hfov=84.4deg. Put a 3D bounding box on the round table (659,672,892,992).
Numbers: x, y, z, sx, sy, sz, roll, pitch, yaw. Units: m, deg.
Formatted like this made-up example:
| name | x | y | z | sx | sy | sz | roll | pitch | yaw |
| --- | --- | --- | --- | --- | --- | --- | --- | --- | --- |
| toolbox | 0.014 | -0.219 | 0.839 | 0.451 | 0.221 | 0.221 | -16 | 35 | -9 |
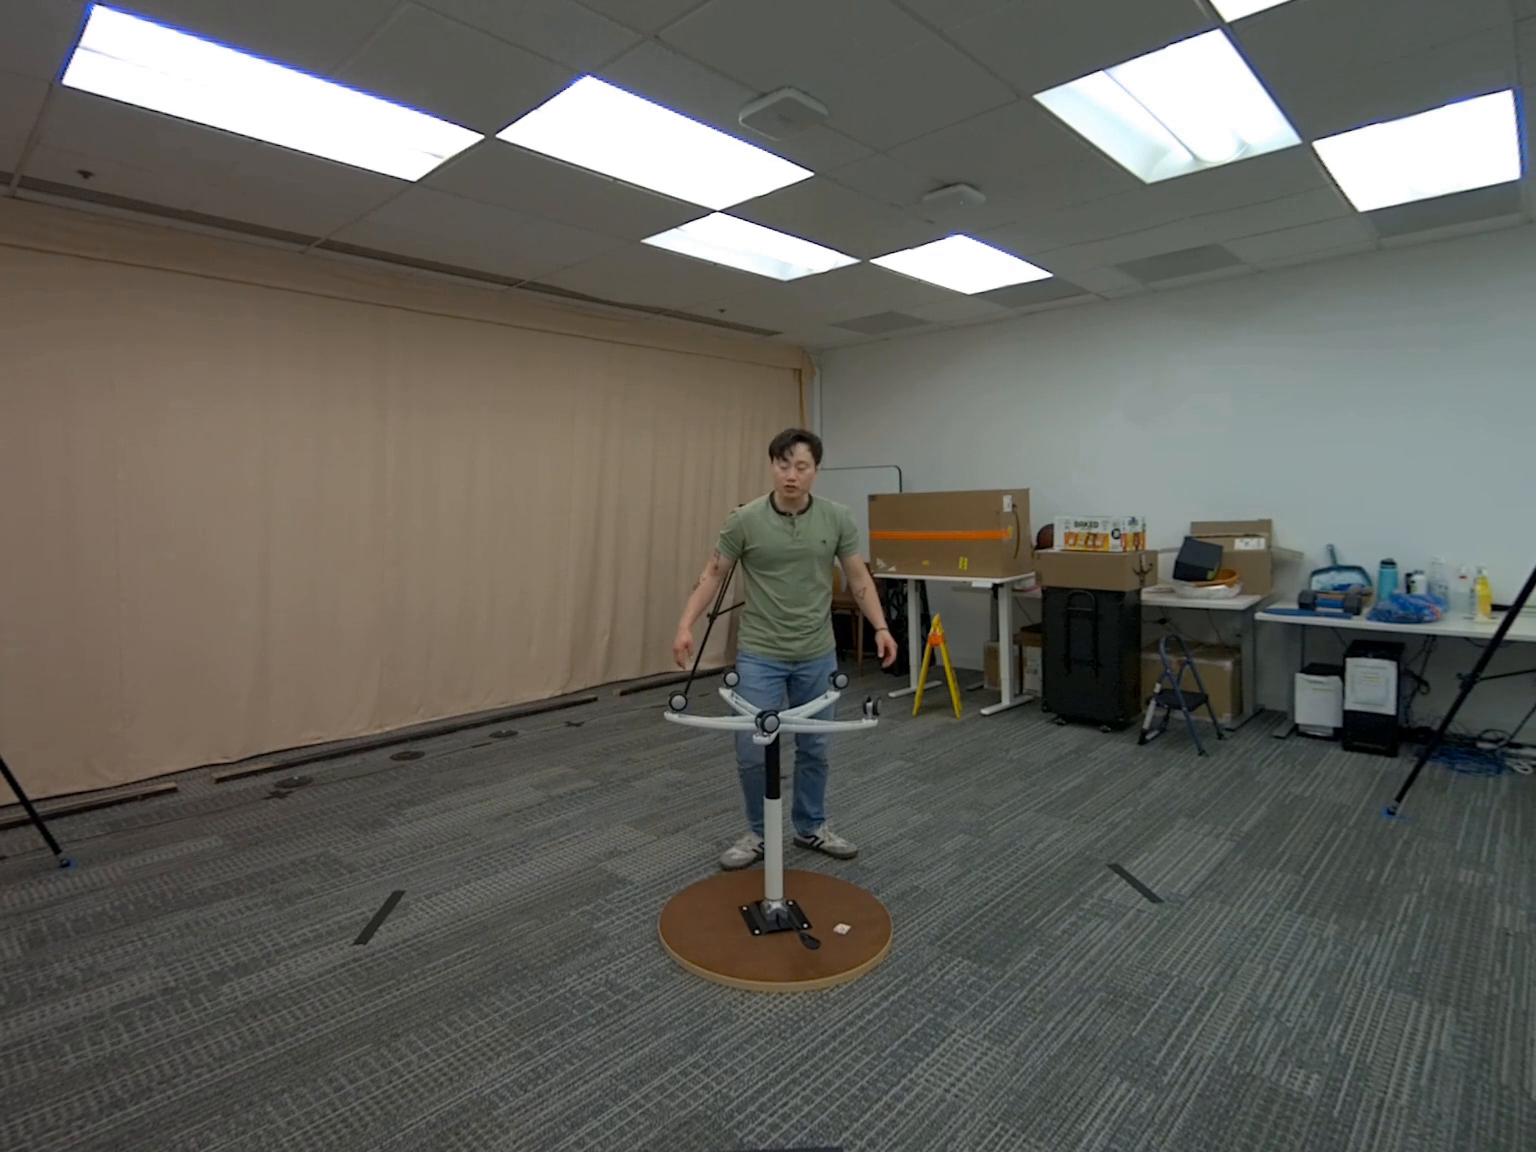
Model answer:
| name | x | y | z | sx | sy | sz | roll | pitch | yaw |
| --- | --- | --- | --- | --- | --- | --- | --- | --- | --- |
| round table | 0.014 | 0.761 | 2.758 | 0.763 | 0.792 | 0.766 | -1 | 3 | -2 |
